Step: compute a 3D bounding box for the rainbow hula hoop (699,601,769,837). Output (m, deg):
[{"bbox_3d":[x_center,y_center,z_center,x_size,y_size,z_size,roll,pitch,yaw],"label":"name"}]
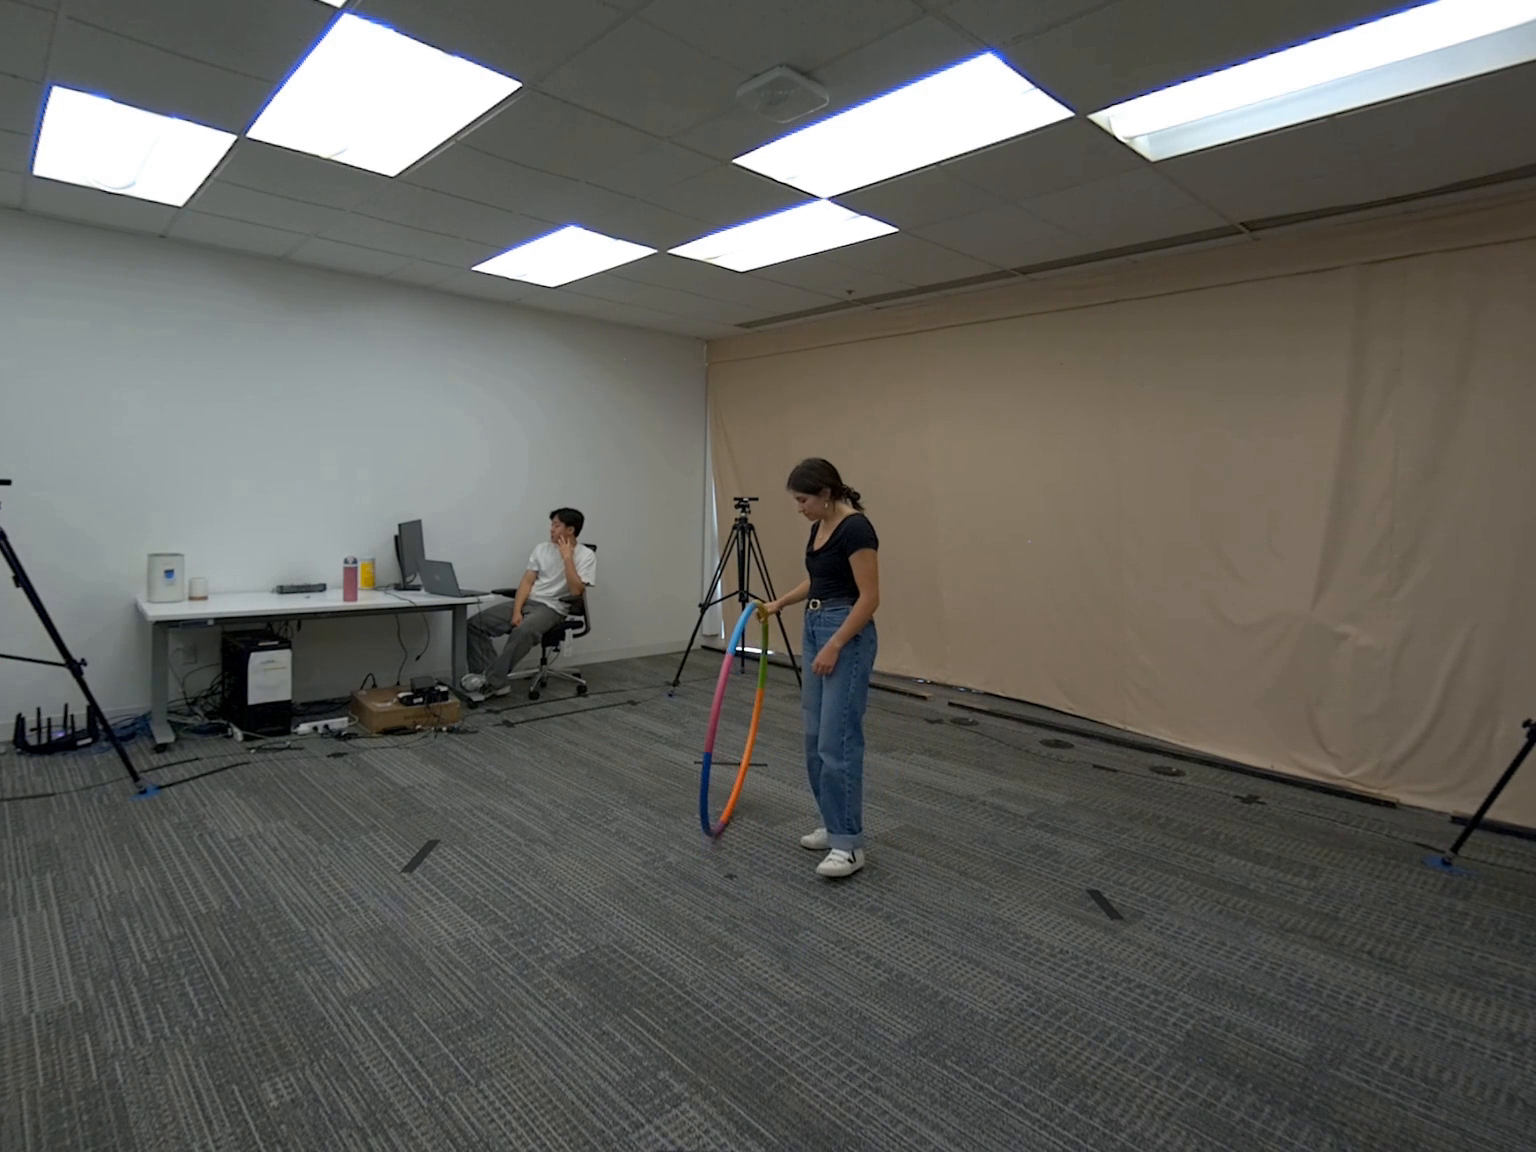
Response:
[{"bbox_3d":[-0.132,0.589,3.508,0.036,0.975,0.972,9,6,9],"label":"rainbow hula hoop"}]
